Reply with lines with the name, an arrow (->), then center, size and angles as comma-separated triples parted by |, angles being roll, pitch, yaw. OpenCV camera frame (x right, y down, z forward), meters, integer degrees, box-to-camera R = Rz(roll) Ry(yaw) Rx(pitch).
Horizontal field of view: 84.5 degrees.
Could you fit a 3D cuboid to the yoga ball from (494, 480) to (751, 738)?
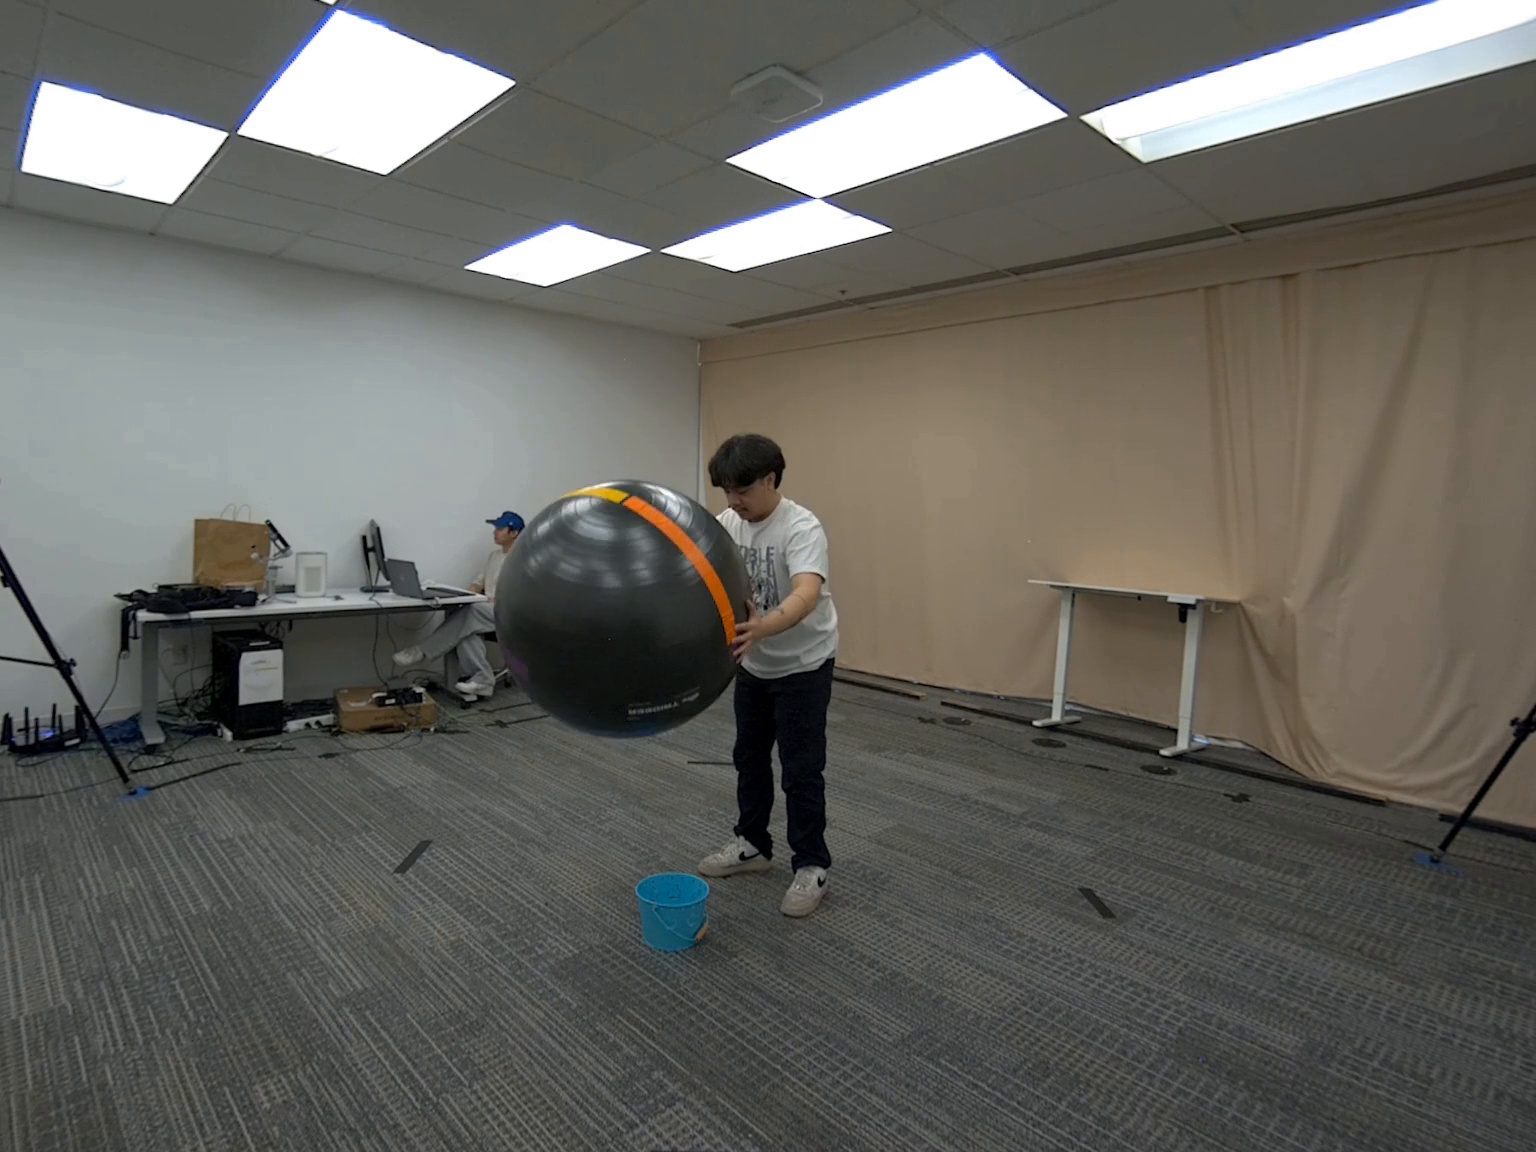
yoga ball -> -0.437, 0.100, 2.490 | 0.757, 0.756, 0.760 | 1, 4, -1
